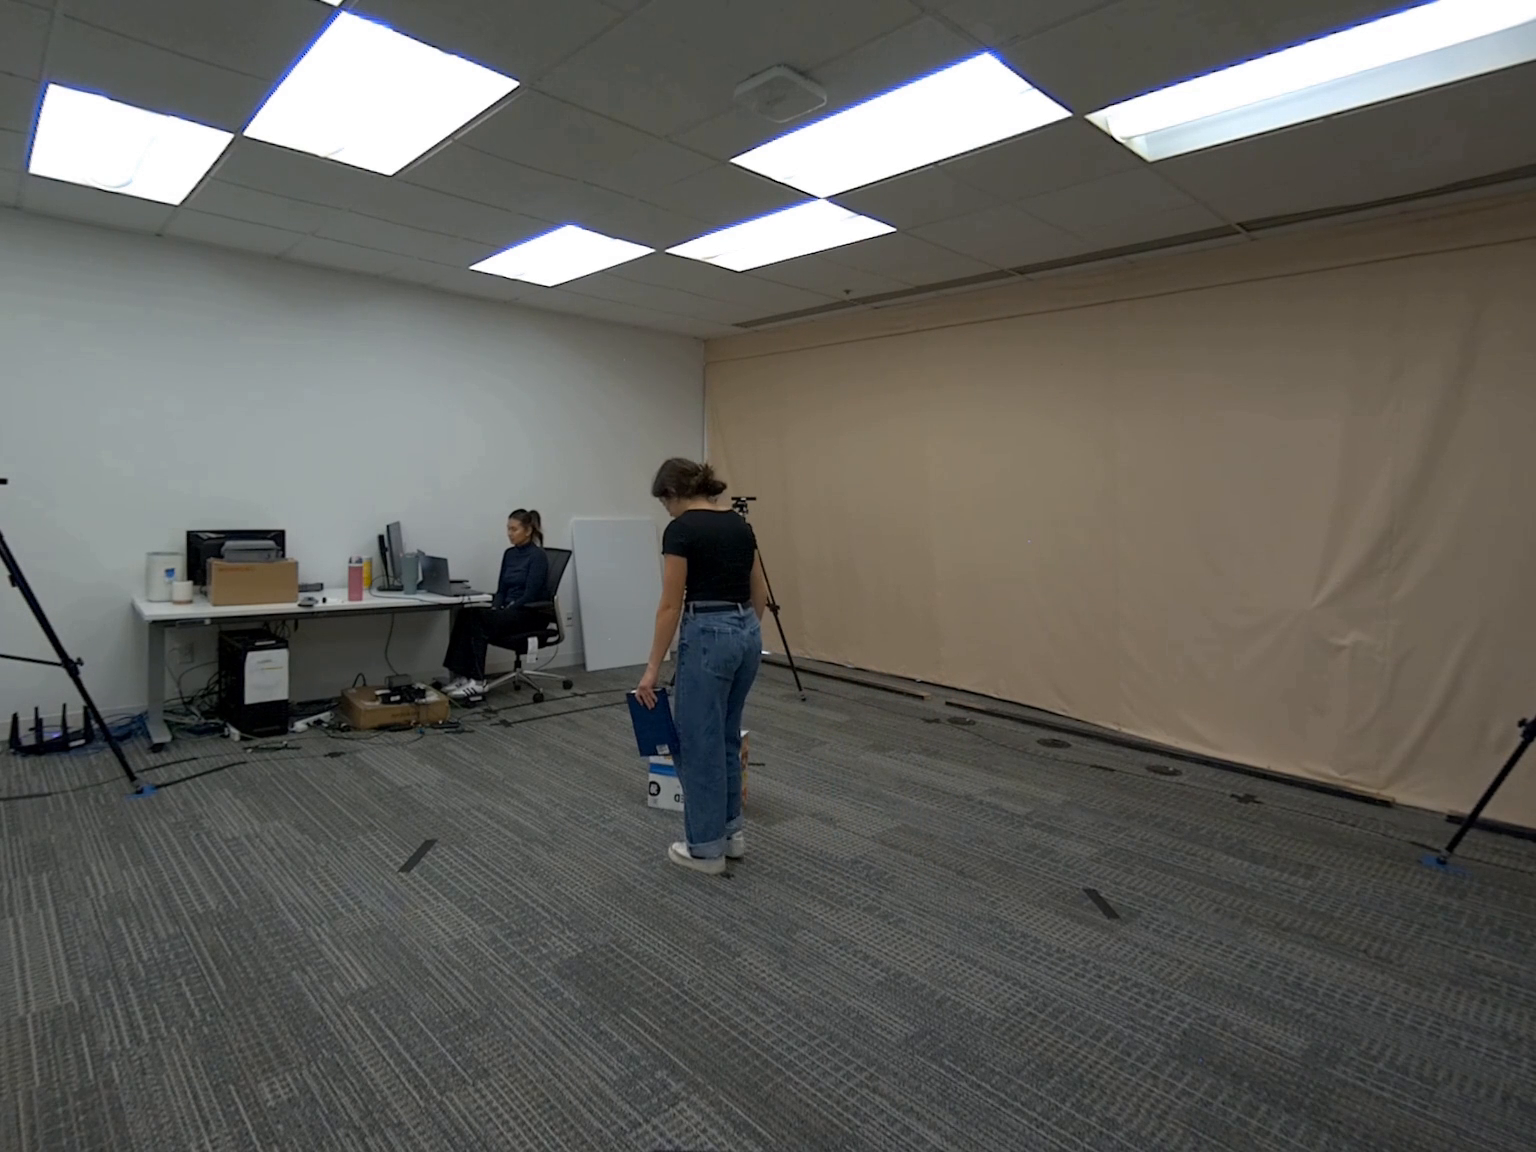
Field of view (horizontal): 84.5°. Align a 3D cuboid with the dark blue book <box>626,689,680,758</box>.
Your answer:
[{"bbox_3d":[-0.429,0.535,3.098,0.166,0.244,0.044,-10,3,34],"label":"dark blue book"}]
